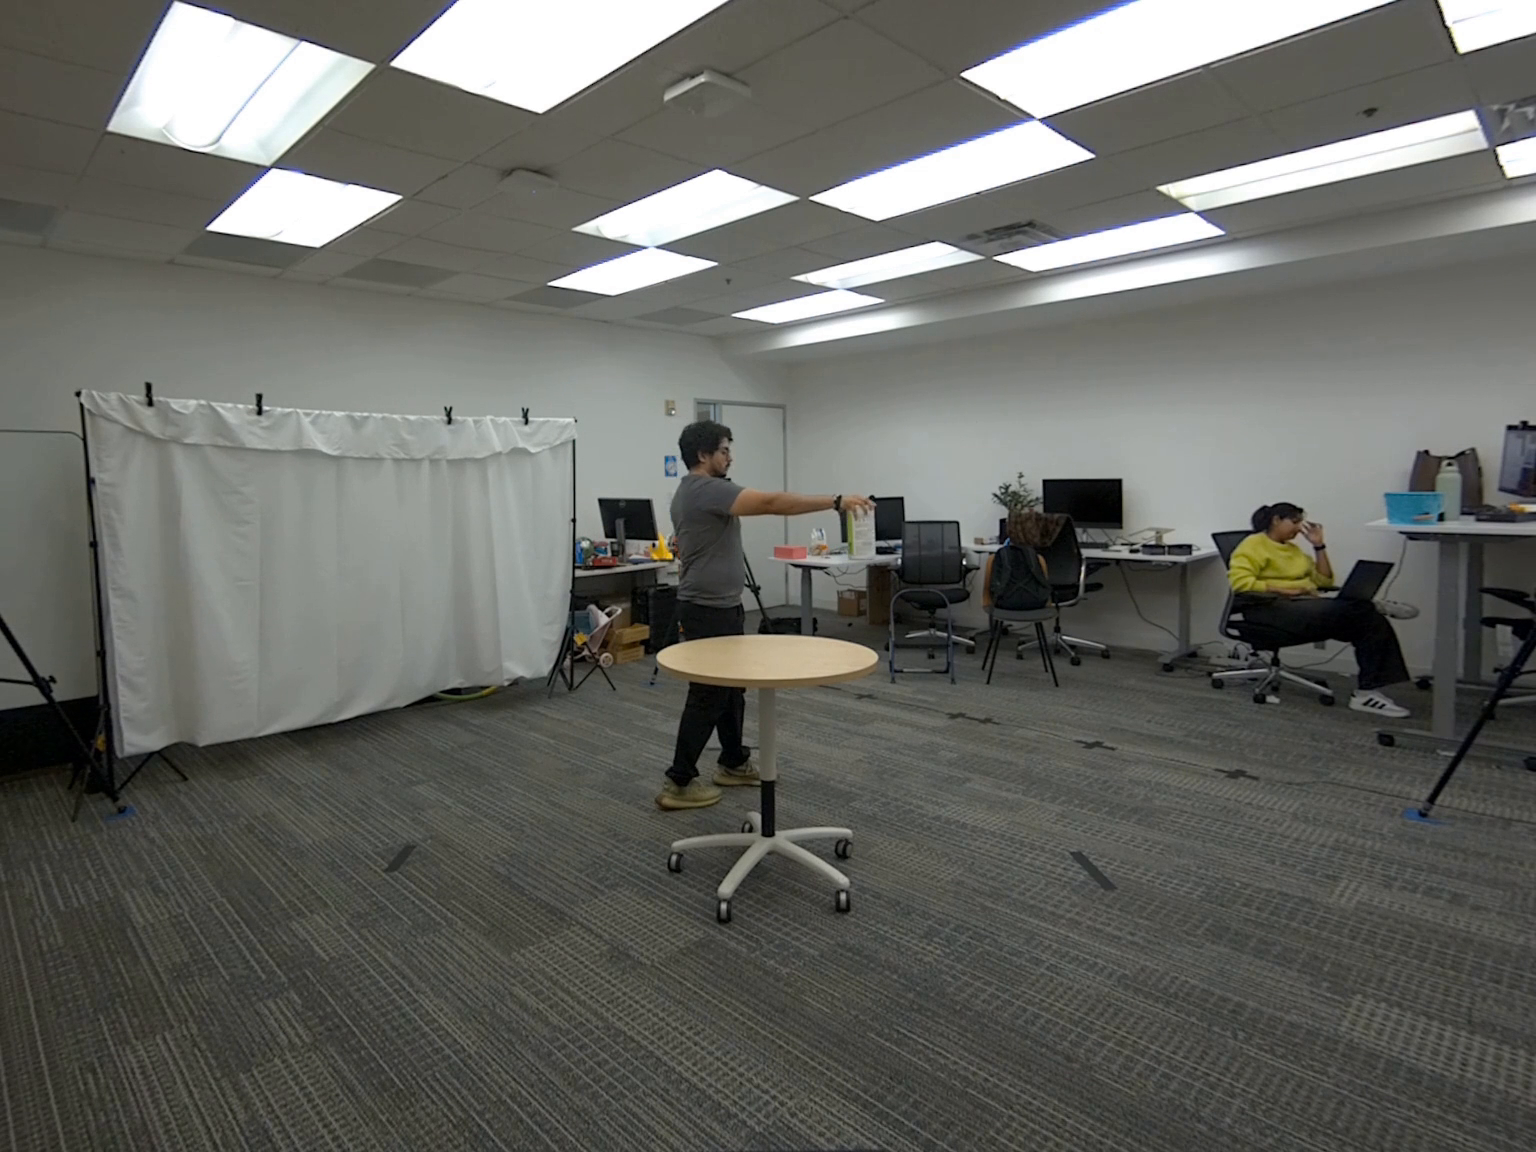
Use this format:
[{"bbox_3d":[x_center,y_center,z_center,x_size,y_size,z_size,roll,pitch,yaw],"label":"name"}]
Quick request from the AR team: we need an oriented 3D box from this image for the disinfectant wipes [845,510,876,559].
[{"bbox_3d":[0.381,-0.174,3.425,0.118,0.217,0.118,-2,3,-2],"label":"disinfectant wipes"}]
